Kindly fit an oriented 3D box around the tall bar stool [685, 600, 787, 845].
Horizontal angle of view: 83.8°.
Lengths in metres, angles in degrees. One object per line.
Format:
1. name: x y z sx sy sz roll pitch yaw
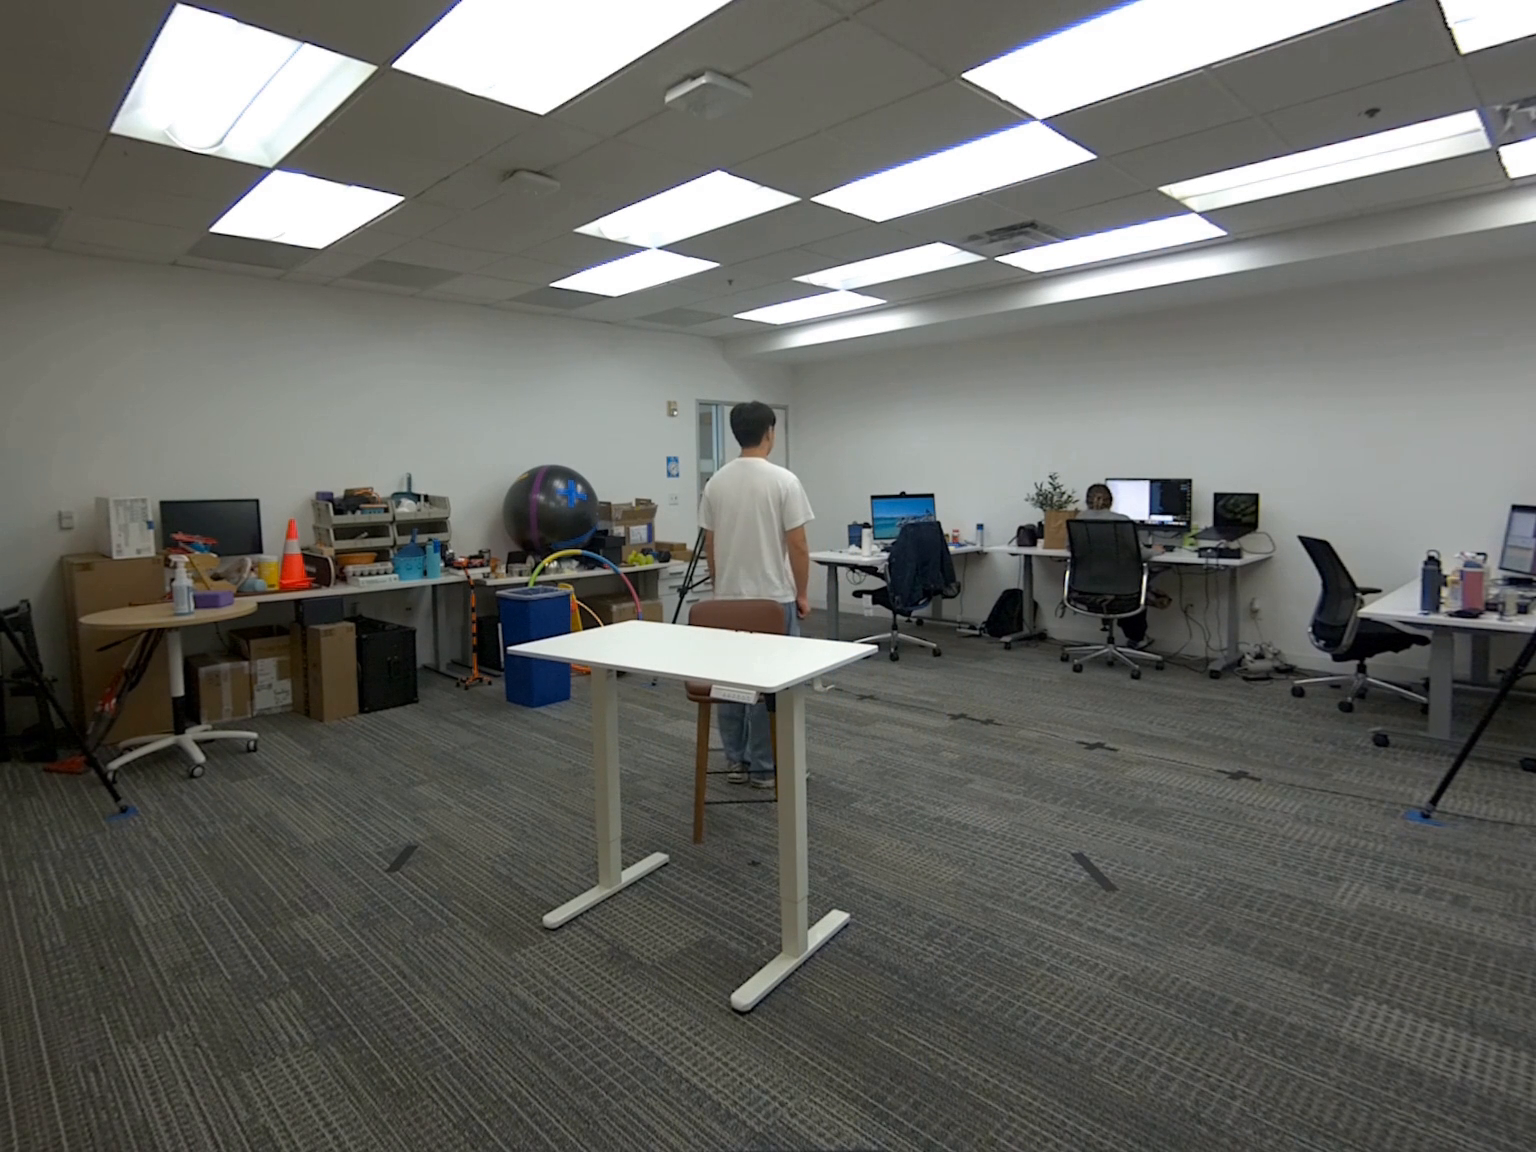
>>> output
1. tall bar stool: -0.102 0.565 3.495 0.455 0.888 0.470 -1 2 -4
